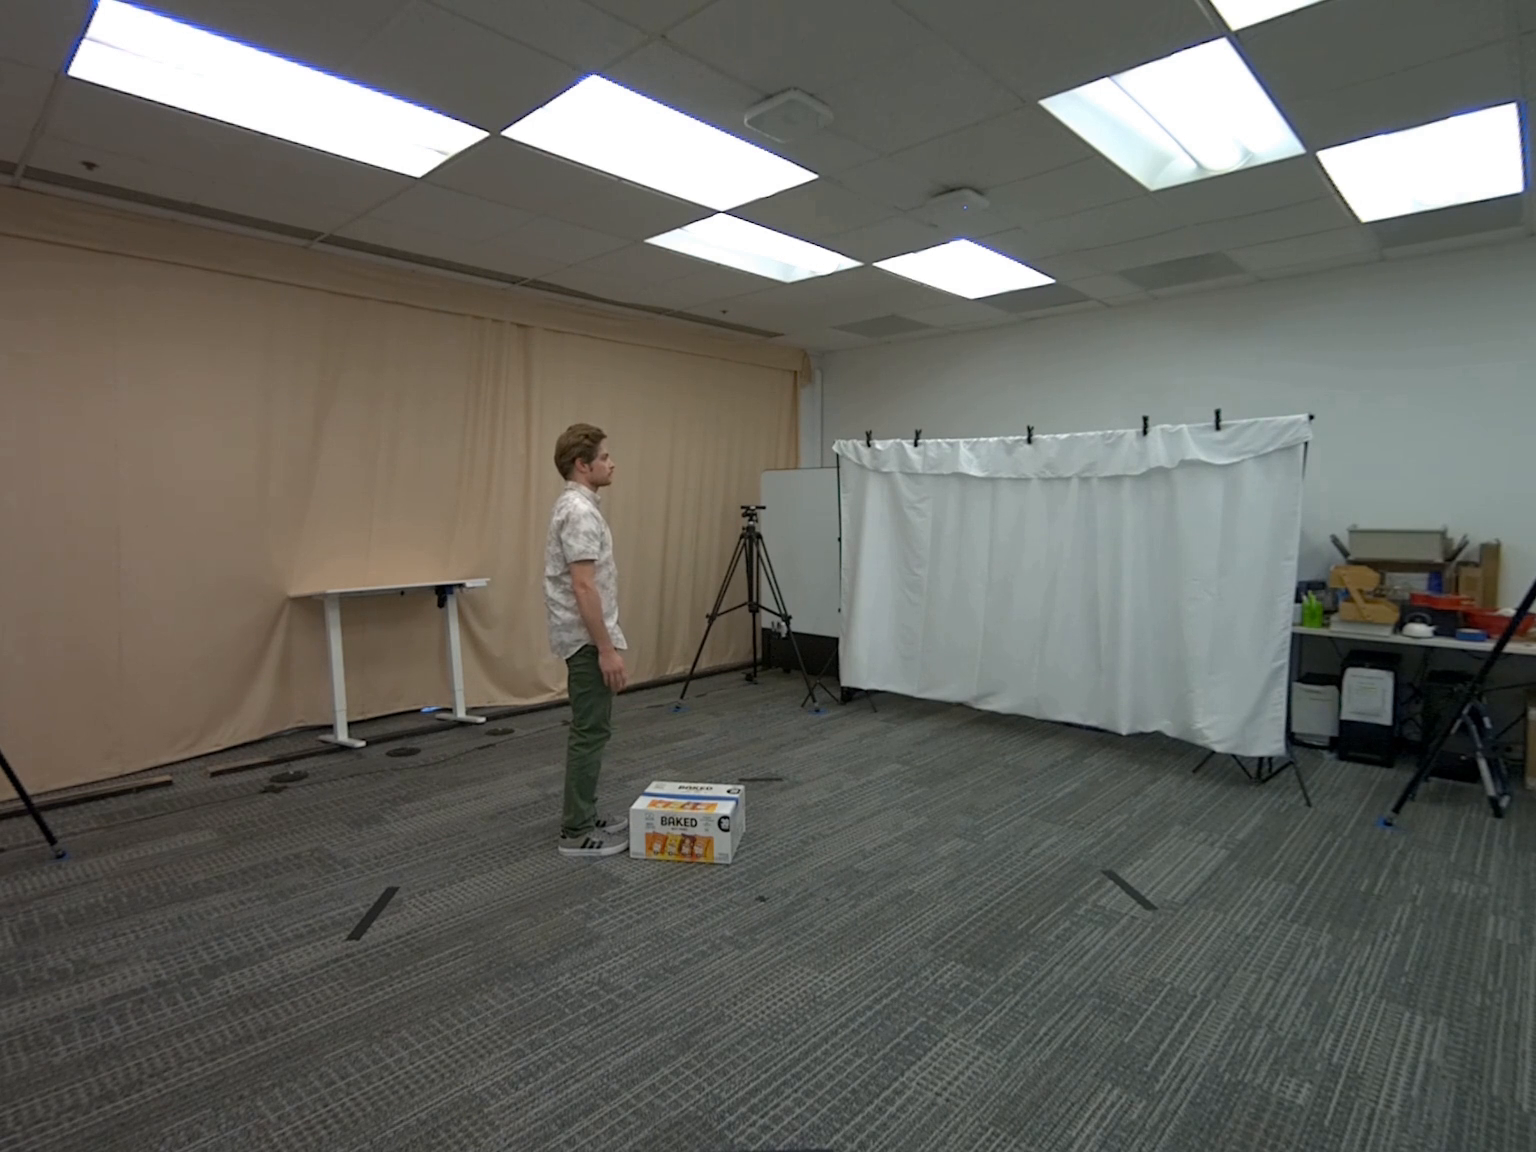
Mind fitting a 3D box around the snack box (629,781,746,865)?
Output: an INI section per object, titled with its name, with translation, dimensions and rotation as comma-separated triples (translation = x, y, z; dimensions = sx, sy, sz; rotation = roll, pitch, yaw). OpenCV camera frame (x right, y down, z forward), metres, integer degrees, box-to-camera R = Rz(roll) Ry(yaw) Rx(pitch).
[snack box]
translation = -0.322, 1.003, 3.454
dimensions = 0.410, 0.205, 0.337
rotation = 0, 4, 10
